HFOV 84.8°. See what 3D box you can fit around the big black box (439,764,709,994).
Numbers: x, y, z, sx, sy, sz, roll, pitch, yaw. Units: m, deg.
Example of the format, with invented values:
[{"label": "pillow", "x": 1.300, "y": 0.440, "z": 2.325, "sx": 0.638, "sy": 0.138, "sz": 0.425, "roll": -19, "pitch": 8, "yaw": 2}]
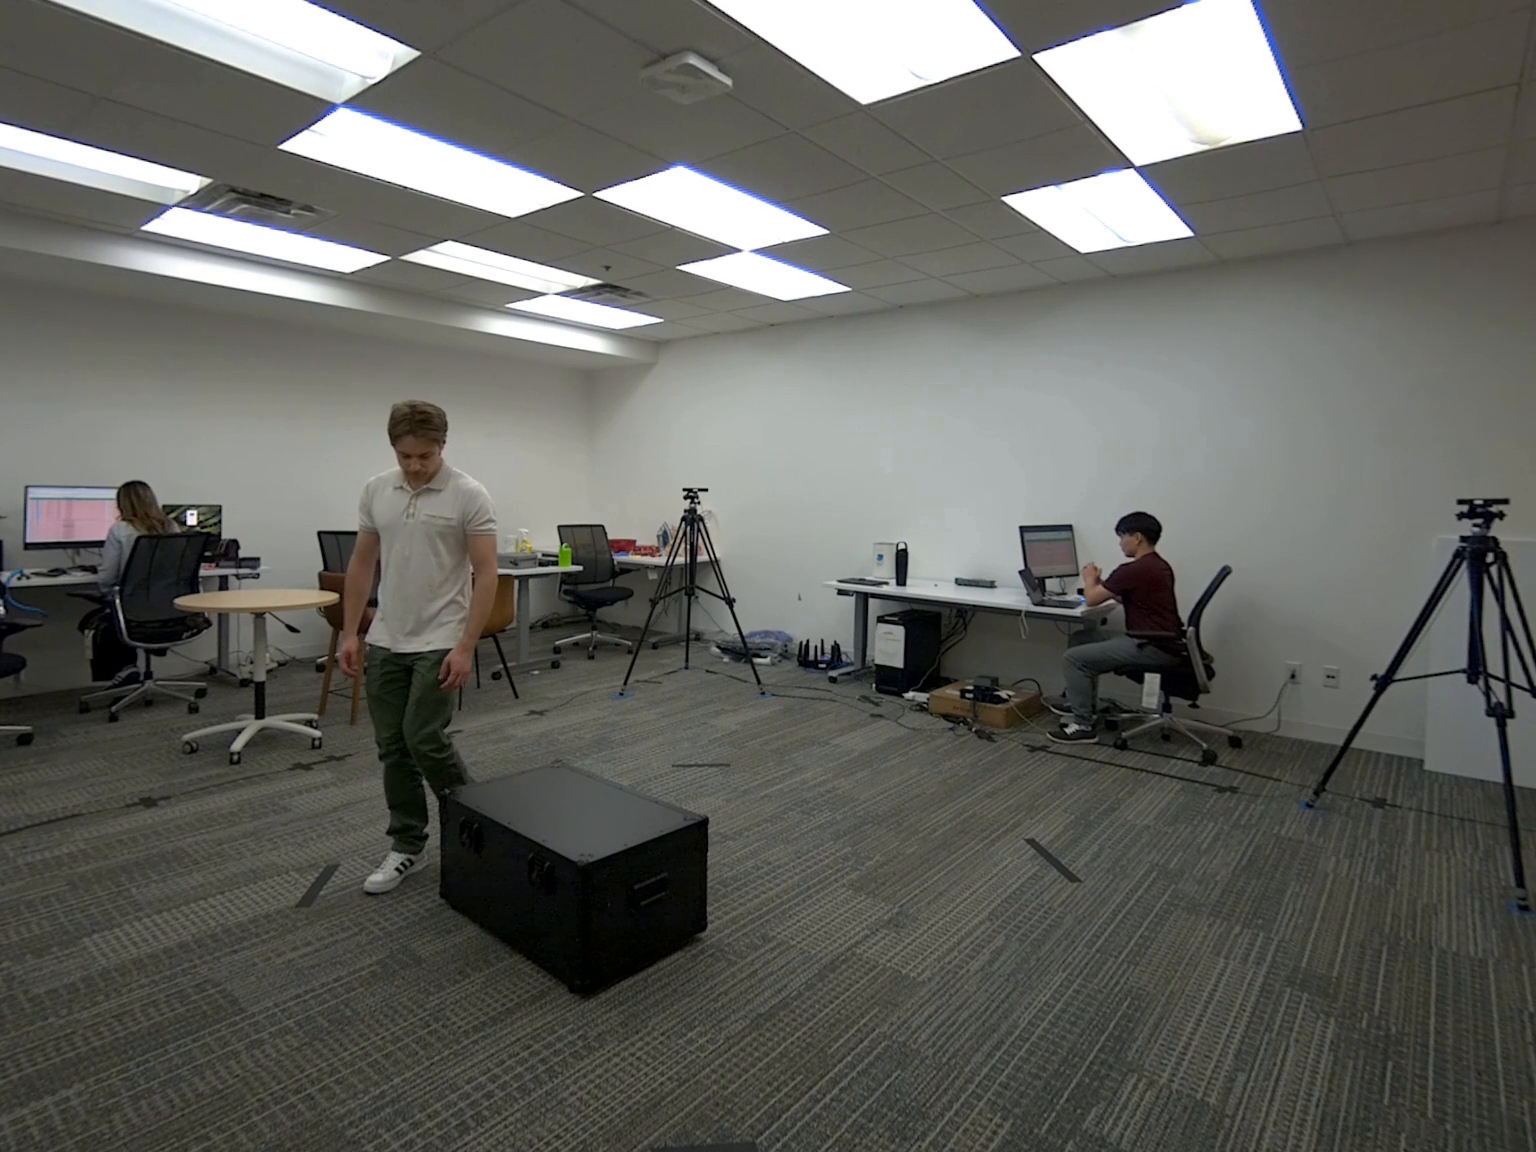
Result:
[{"label": "big black box", "x": -0.664, "y": 0.908, "z": 2.736, "sx": 0.891, "sy": 0.395, "sz": 0.506, "roll": 6, "pitch": 6, "yaw": 42}]
